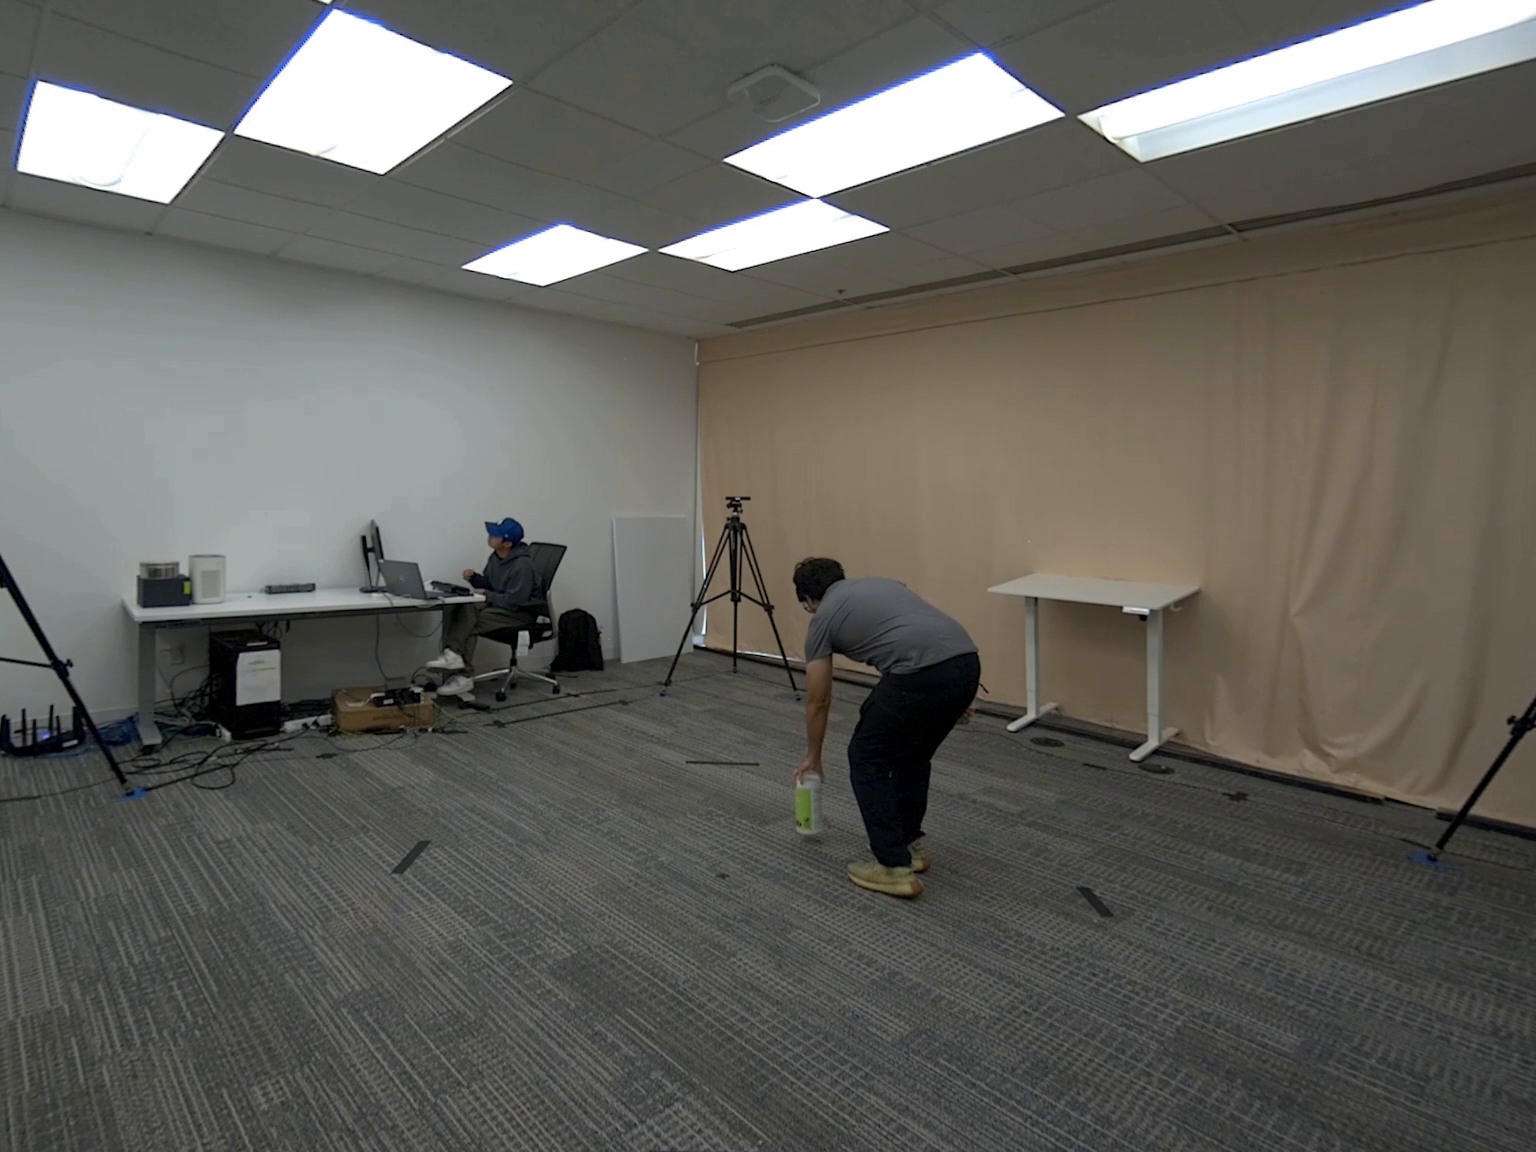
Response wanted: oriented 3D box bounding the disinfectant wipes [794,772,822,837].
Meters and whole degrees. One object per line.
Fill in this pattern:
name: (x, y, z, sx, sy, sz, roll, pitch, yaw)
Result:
disinfectant wipes: (0.158, 0.932, 3.439, 0.118, 0.217, 0.118, -4, 4, -1)
